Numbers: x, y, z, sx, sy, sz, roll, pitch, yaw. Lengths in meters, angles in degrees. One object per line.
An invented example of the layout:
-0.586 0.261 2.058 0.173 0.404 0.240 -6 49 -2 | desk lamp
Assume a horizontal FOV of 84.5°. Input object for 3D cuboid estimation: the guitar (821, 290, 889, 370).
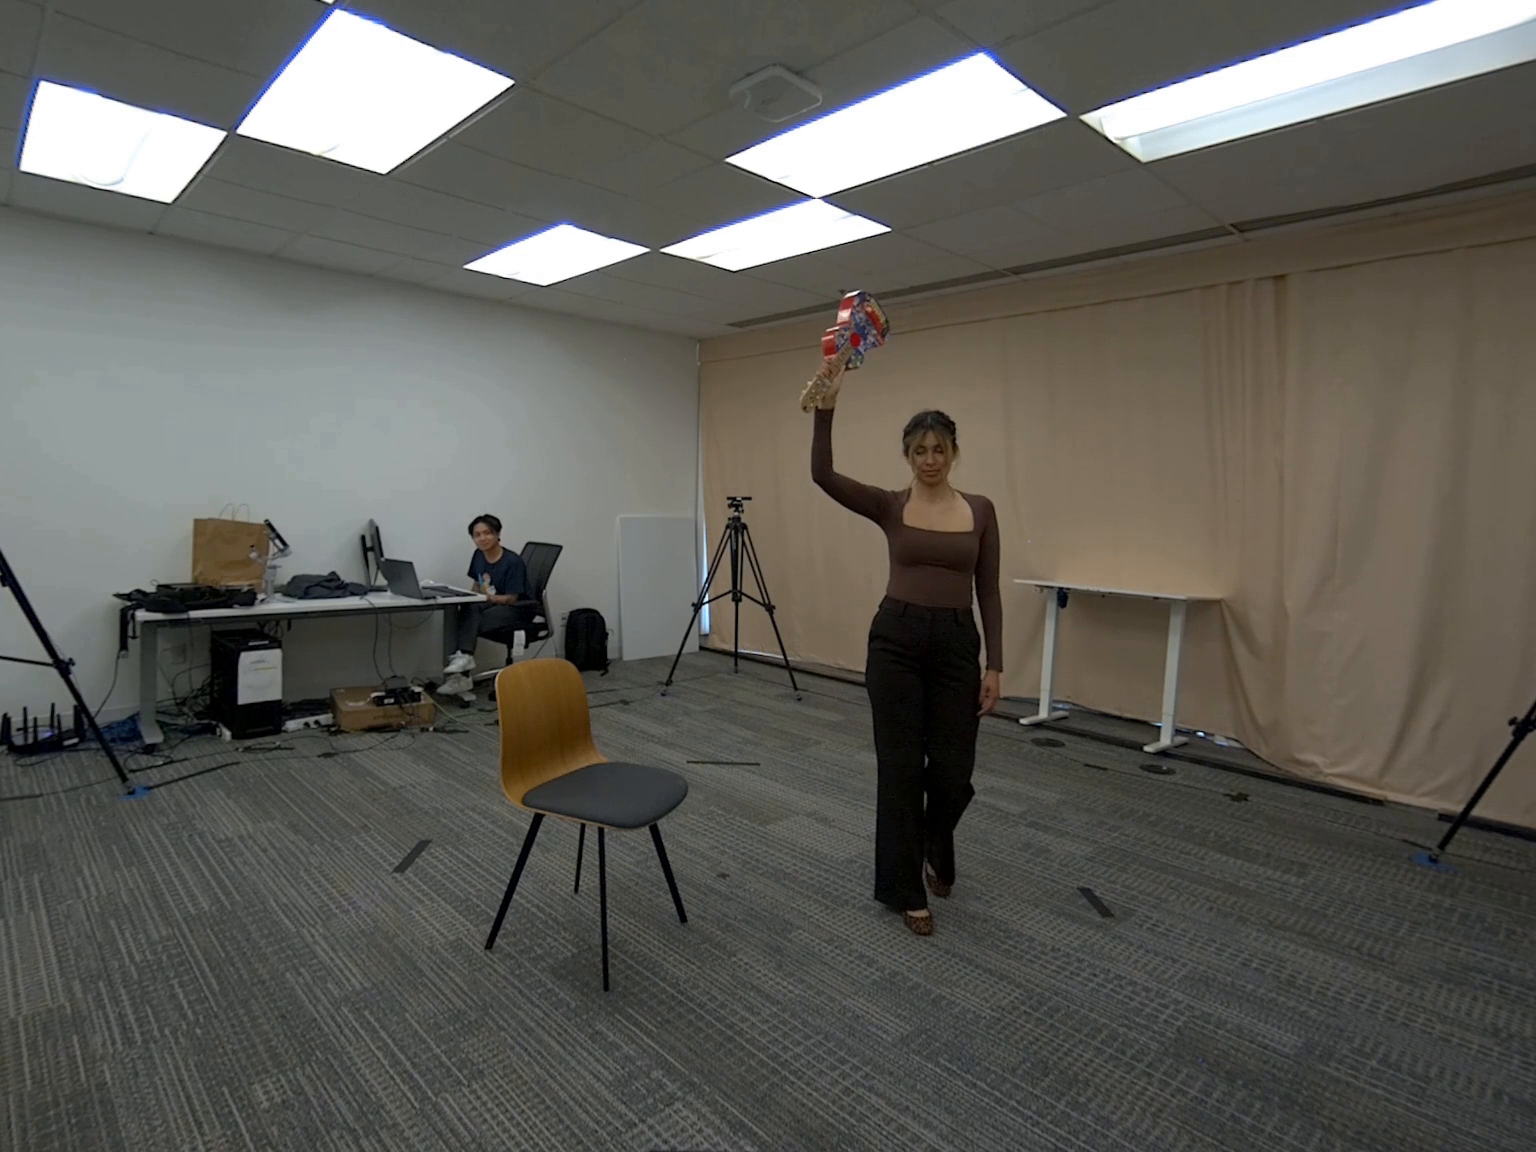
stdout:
0.208 -0.715 2.660 0.072 0.189 0.498 -2 40 52 | guitar
